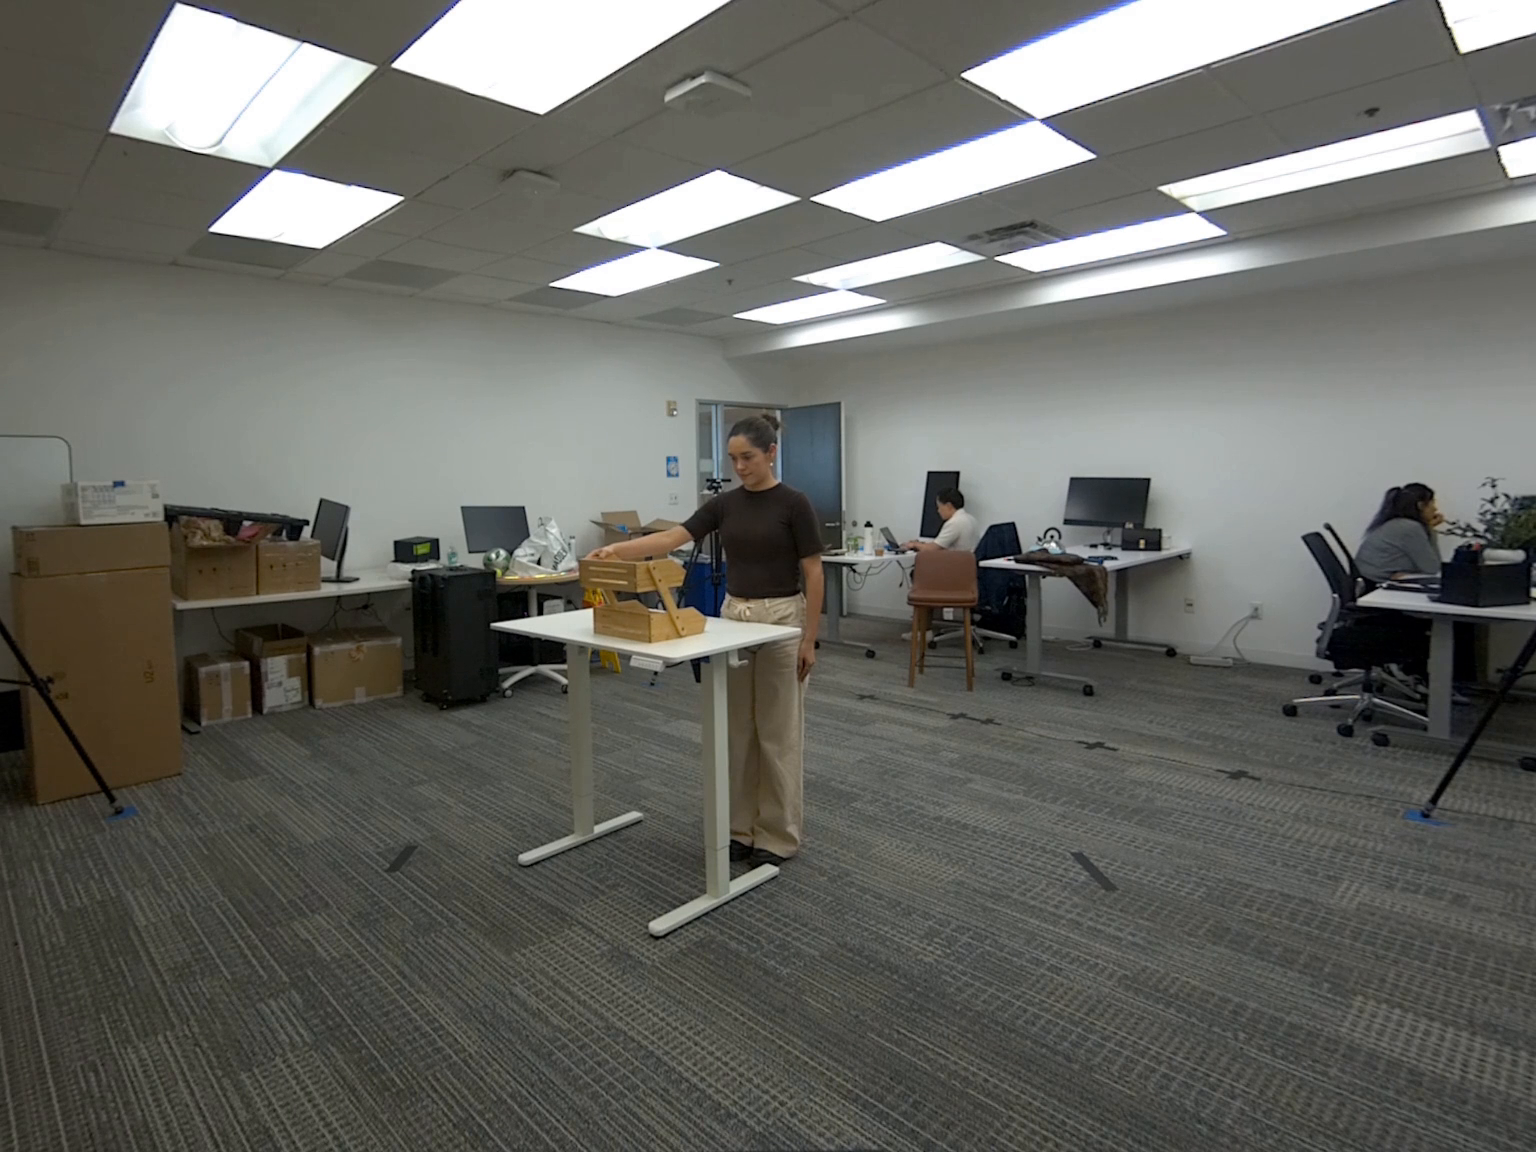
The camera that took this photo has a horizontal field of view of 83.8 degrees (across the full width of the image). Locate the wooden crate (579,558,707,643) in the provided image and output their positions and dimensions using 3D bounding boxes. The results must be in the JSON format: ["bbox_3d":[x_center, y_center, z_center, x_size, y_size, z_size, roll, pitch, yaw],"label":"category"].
[{"bbox_3d":[-0.416,0.064,2.864,0.334,0.272,0.294,3,8,43],"label":"wooden crate"}]
